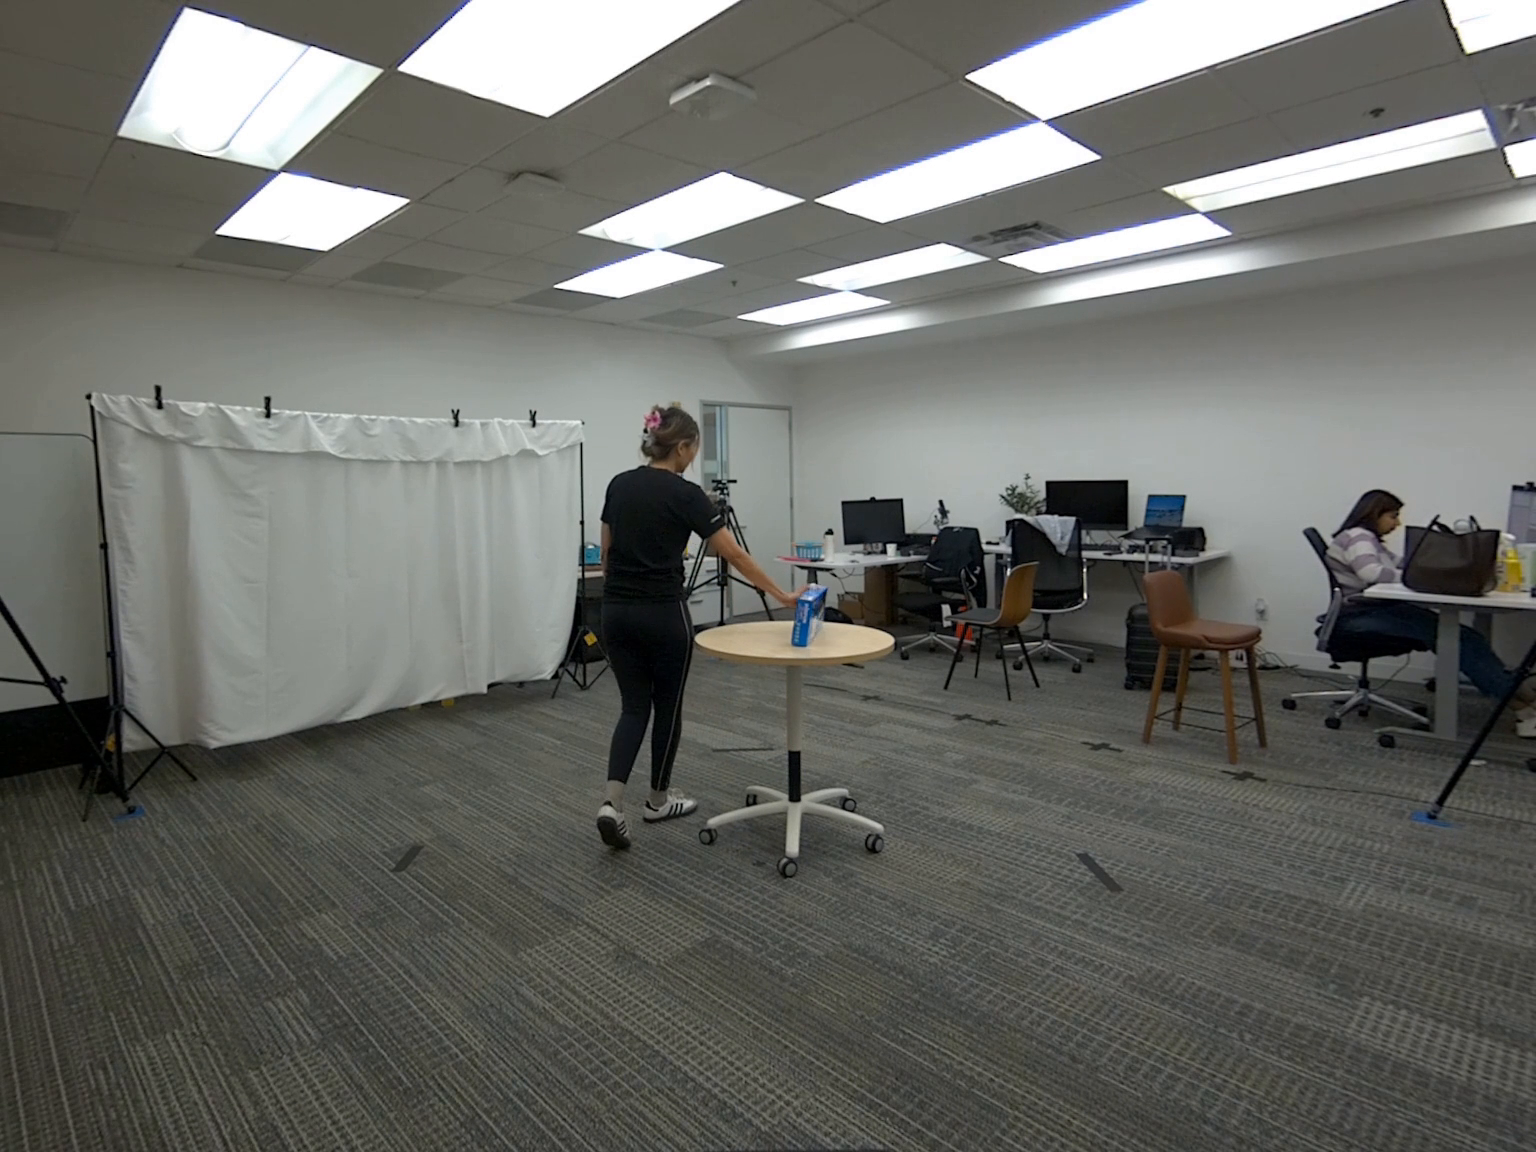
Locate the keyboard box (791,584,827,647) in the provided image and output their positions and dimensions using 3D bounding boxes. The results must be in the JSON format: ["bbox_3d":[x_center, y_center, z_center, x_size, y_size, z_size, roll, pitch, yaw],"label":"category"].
[{"bbox_3d":[0.163,0.147,3.318,0.060,0.175,0.433,8,8,10],"label":"keyboard box"}]
